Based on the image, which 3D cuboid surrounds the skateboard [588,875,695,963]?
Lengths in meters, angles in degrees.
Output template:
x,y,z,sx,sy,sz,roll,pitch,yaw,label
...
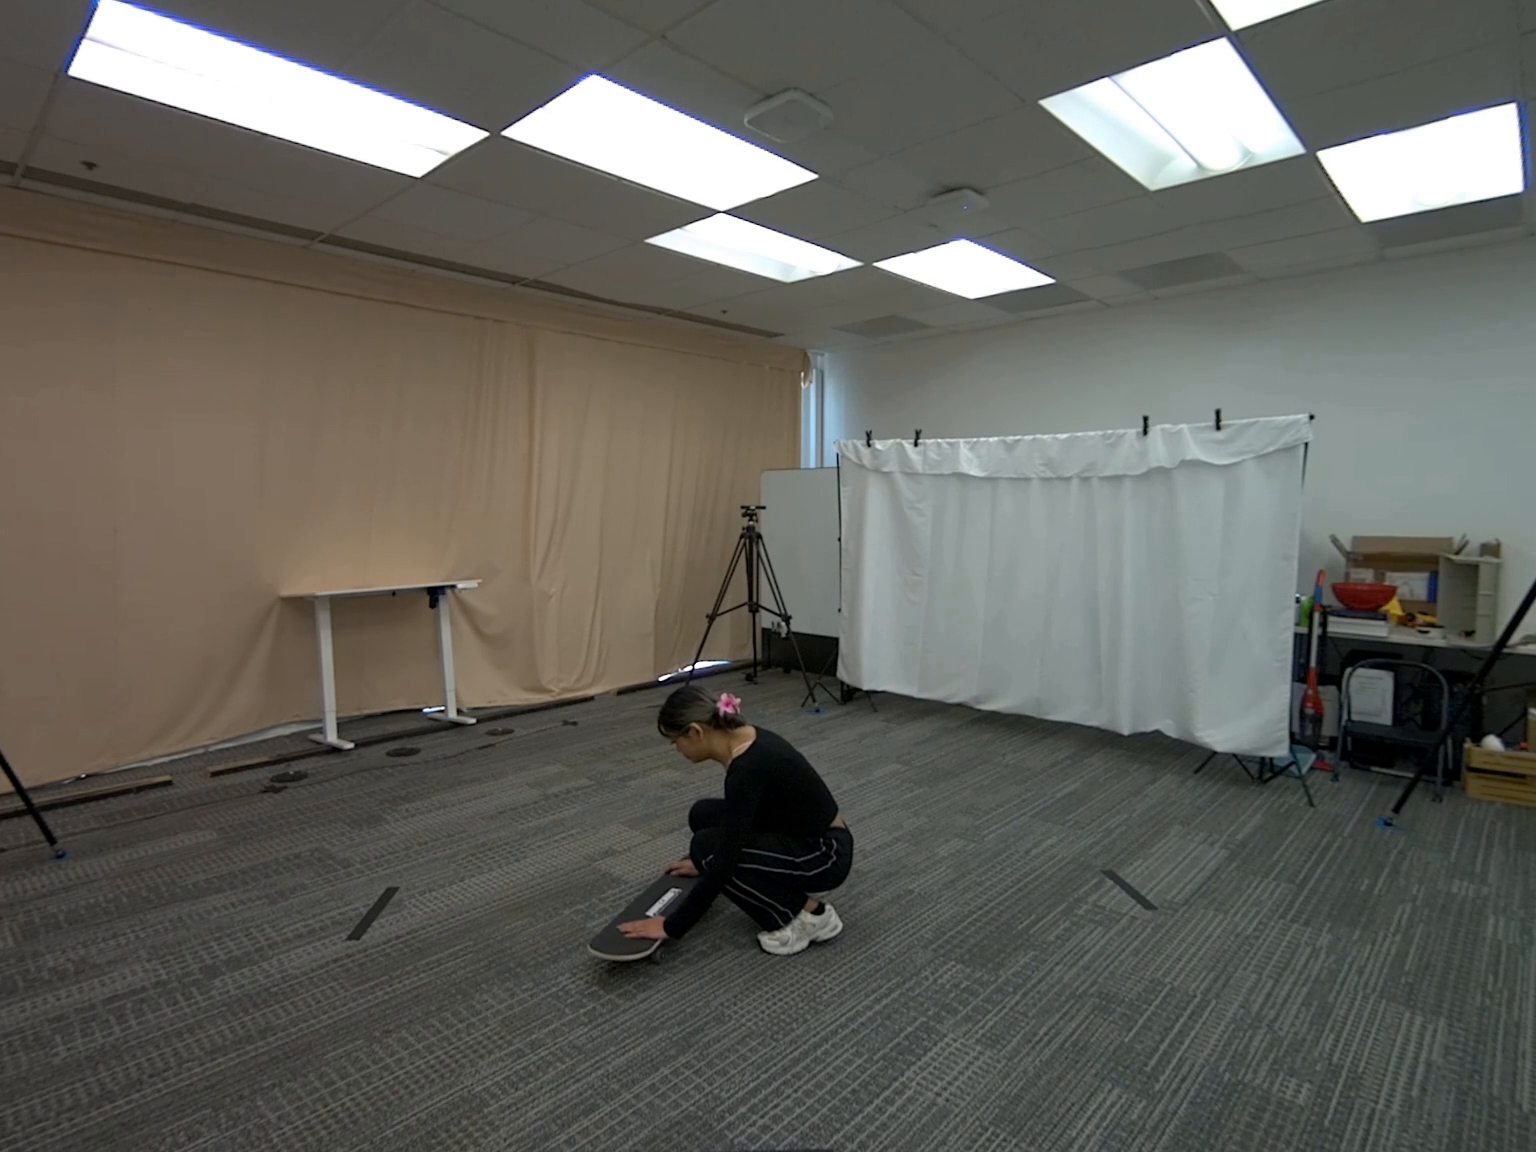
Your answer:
x,y,z,sx,sy,sz,roll,pitch,yaw,label
-0.340,1.107,2.788,0.198,0.110,0.770,1,5,20,skateboard
